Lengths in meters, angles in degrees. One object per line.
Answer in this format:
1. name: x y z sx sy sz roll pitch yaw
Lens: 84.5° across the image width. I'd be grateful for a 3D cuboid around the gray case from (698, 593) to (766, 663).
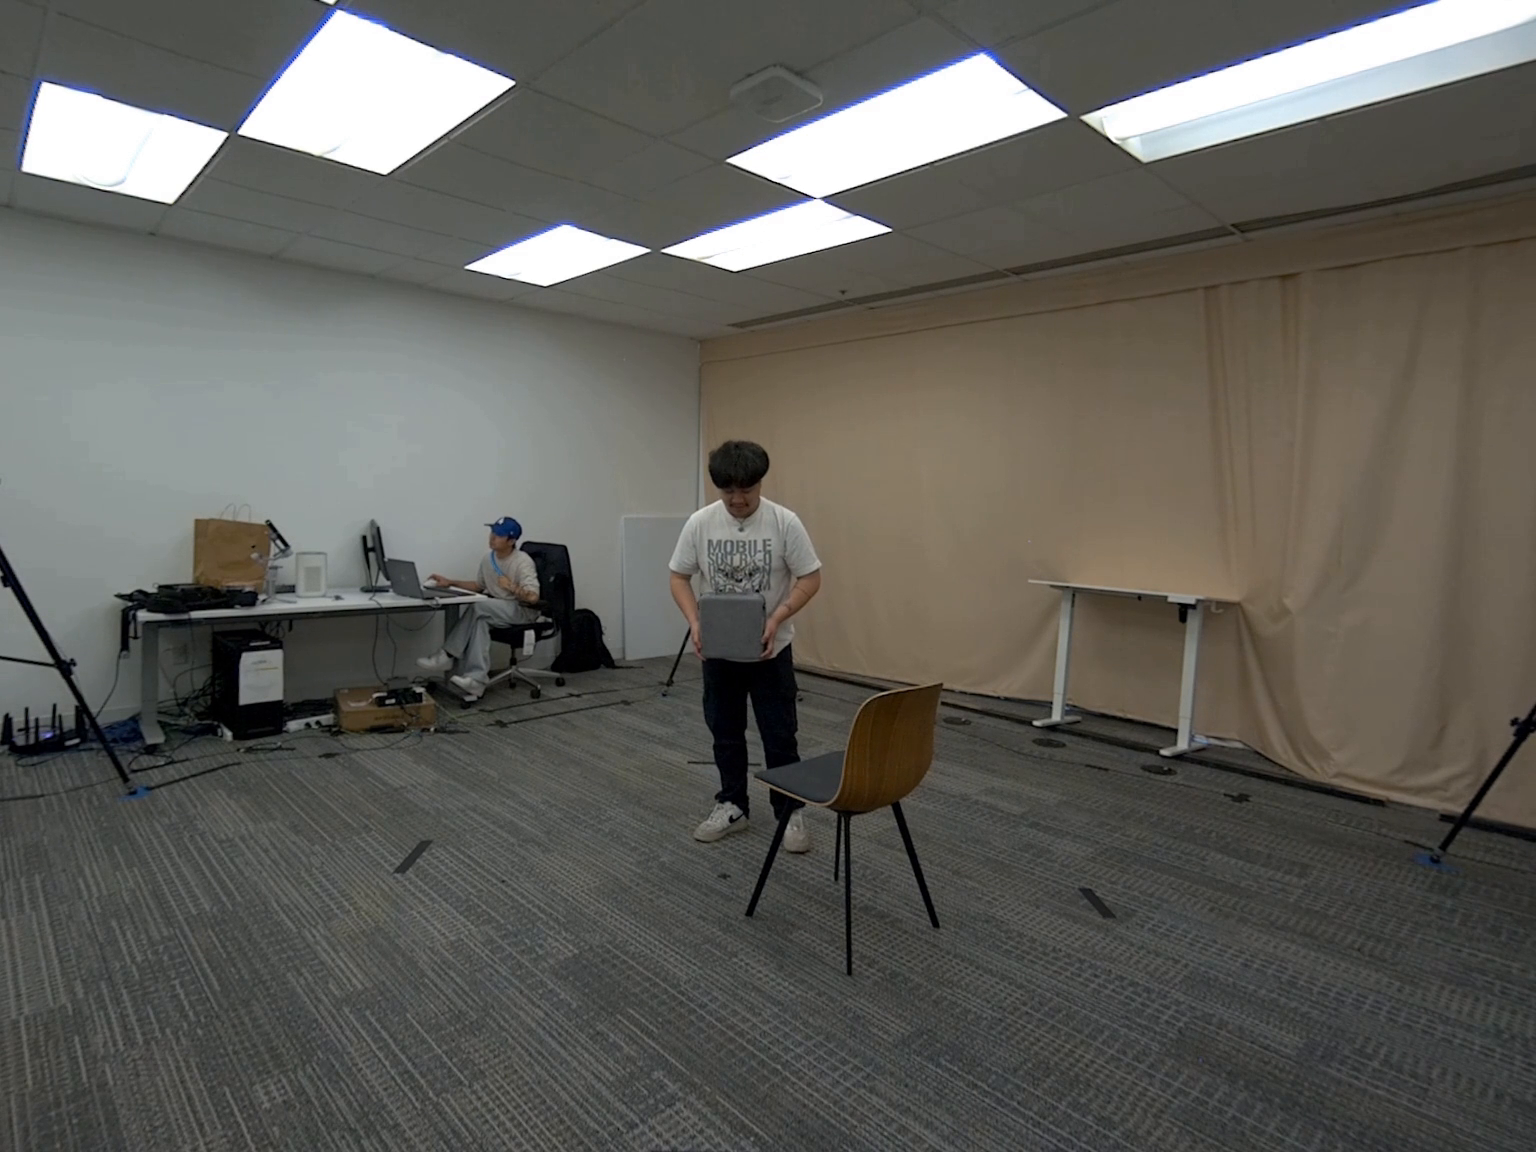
1. gray case: -0.139 0.190 3.248 0.259 0.259 0.104 -4 8 14
